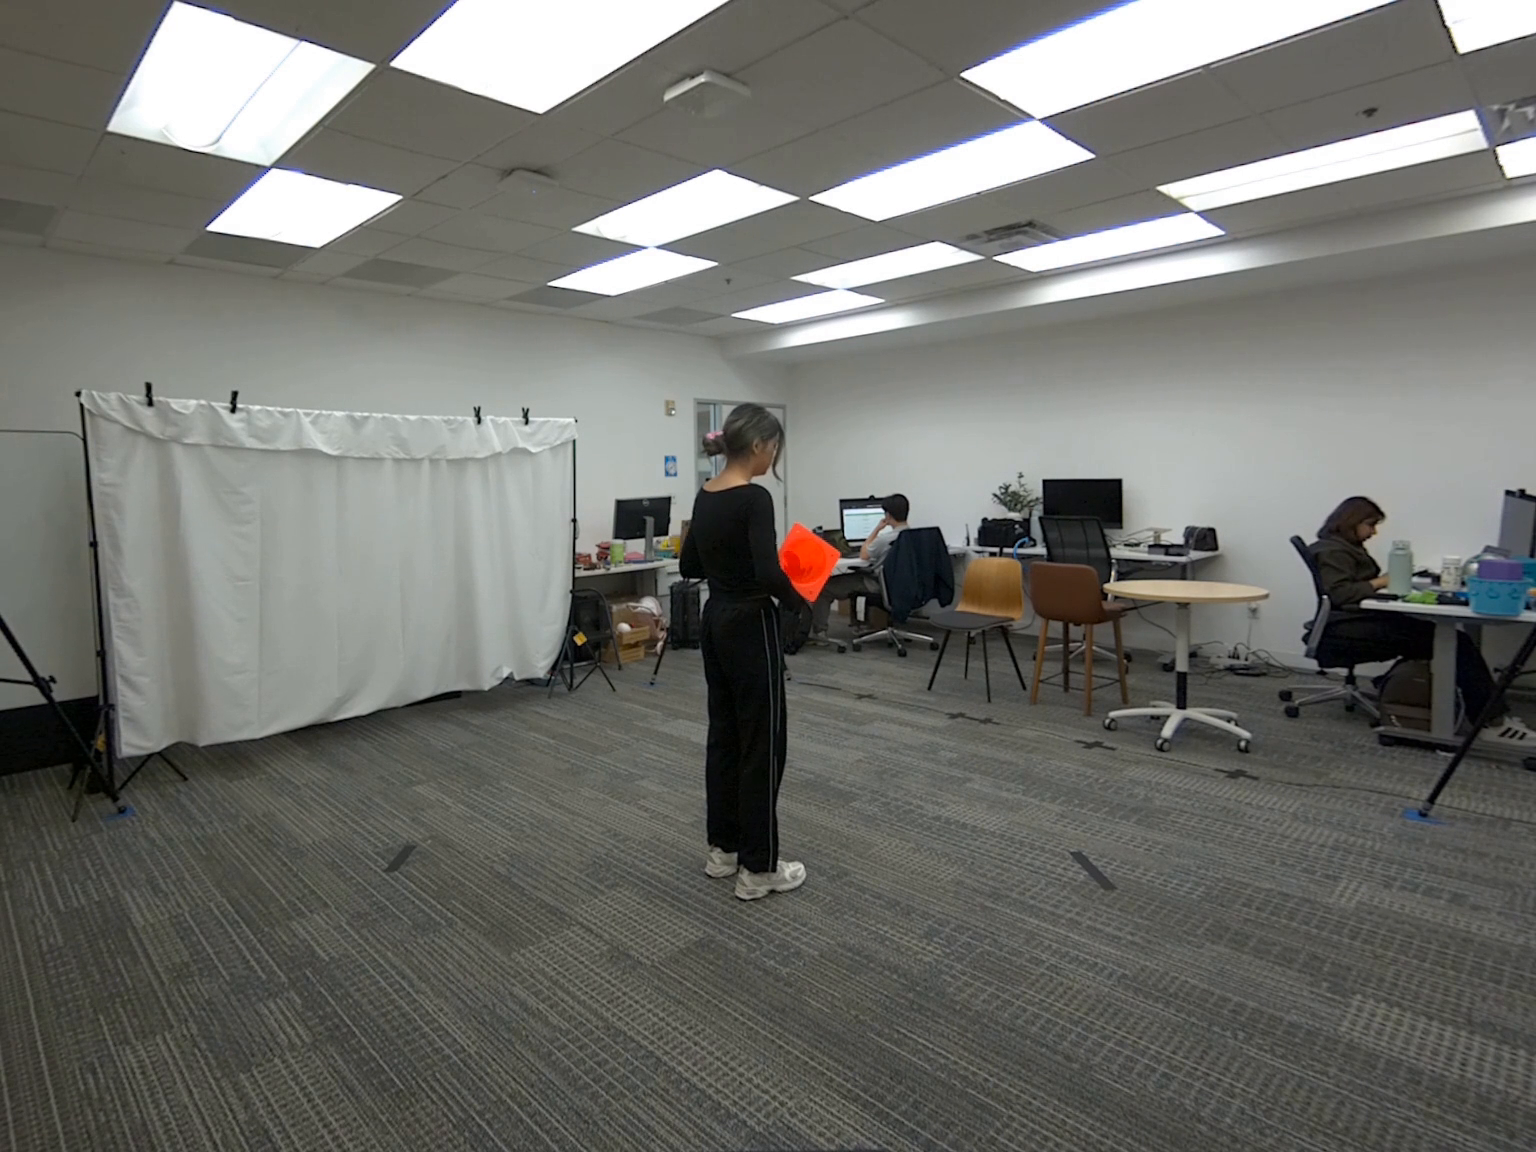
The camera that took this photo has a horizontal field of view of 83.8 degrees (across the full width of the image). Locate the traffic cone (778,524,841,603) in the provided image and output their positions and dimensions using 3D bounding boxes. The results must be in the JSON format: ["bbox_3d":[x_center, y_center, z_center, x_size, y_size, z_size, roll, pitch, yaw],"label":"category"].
[{"bbox_3d":[0.069,-0.045,3.043,0.202,0.204,0.388,33,-10,-12],"label":"traffic cone"}]
